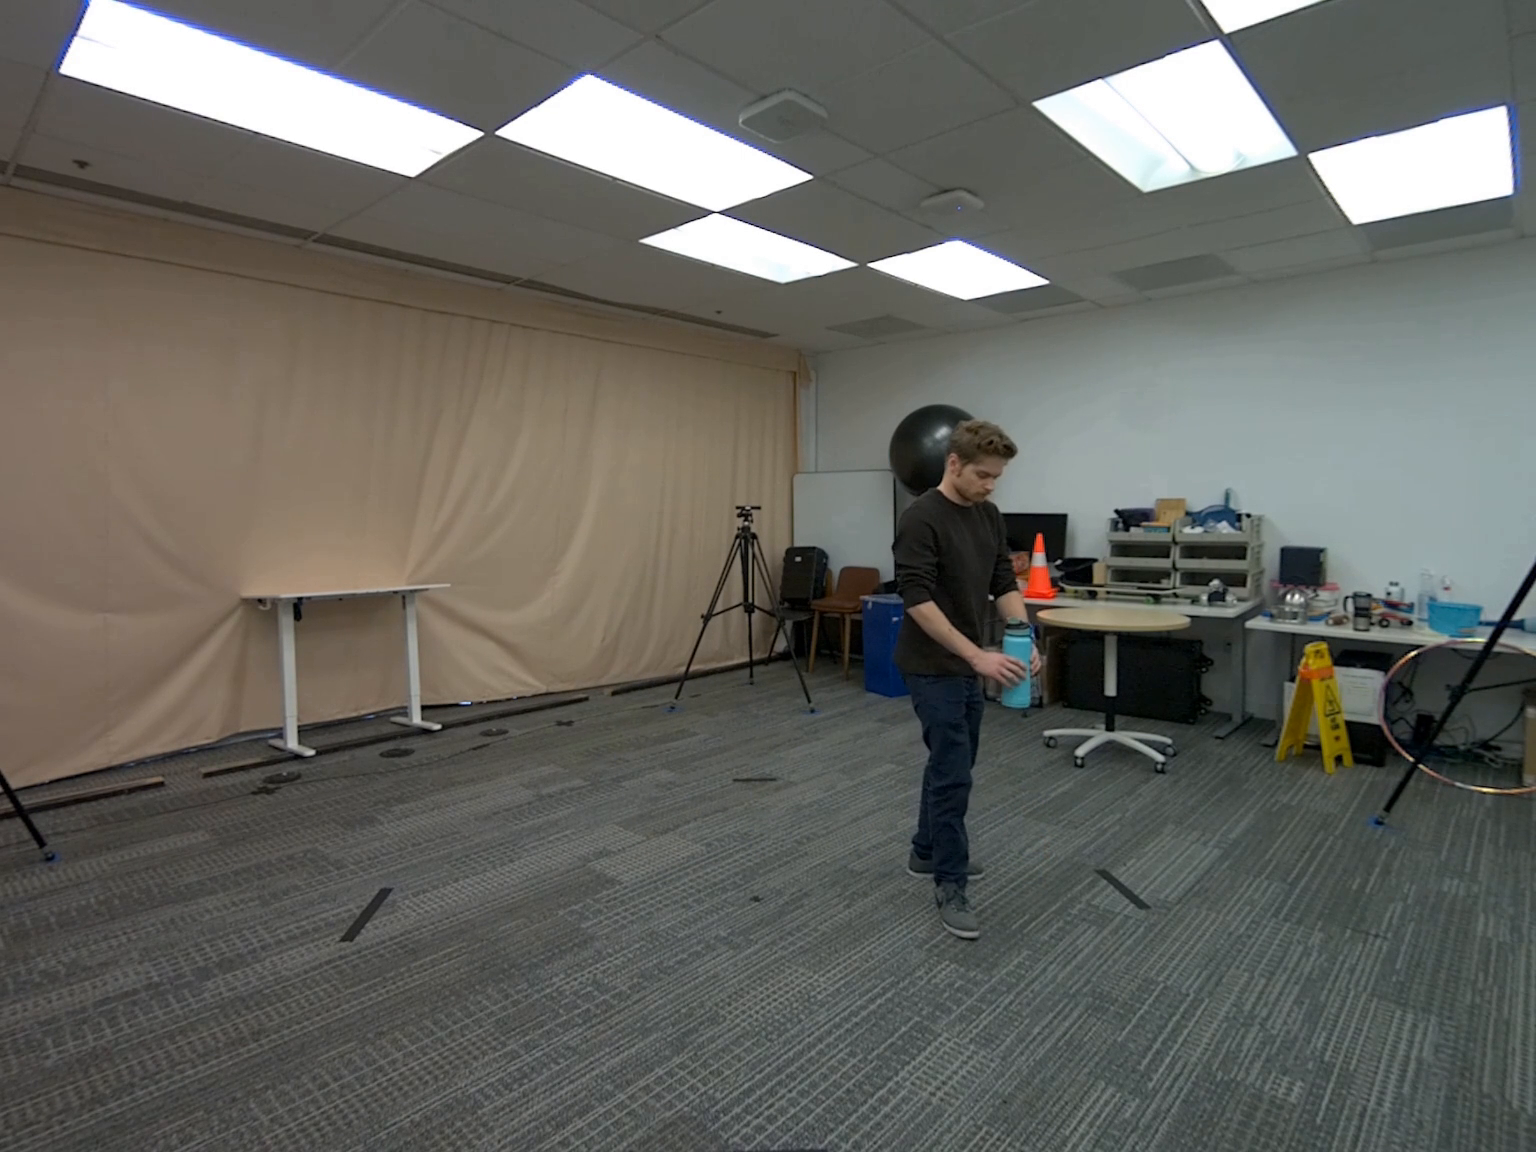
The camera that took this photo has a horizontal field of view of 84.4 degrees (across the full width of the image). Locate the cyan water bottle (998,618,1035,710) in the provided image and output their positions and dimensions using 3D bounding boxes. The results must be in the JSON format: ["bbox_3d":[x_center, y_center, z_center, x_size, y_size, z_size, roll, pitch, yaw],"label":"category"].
[{"bbox_3d":[0.804,0.278,2.737,0.092,0.283,0.092,4,3,-2],"label":"cyan water bottle"}]
